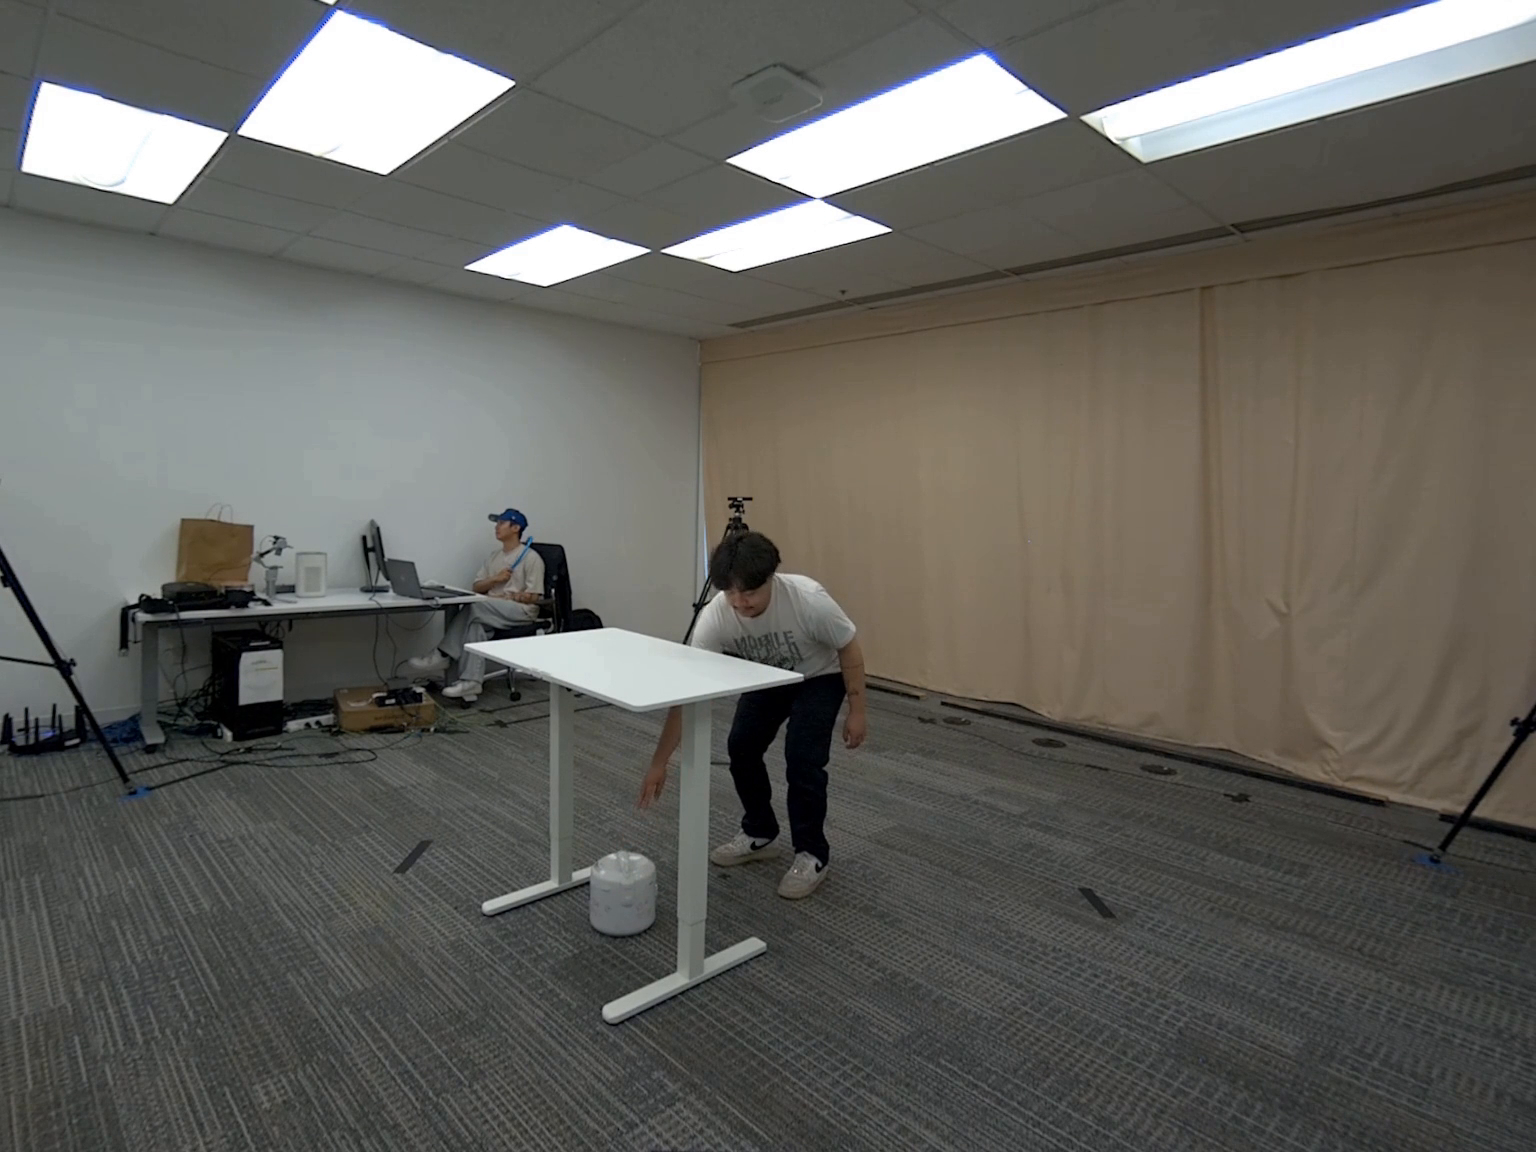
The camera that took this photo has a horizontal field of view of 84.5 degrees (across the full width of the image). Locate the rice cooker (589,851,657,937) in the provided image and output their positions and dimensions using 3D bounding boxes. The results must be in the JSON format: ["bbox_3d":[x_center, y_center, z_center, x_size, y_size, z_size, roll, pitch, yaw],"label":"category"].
[{"bbox_3d":[-0.471,1.019,2.730,0.215,0.232,0.224,0,4,-15],"label":"rice cooker"}]
